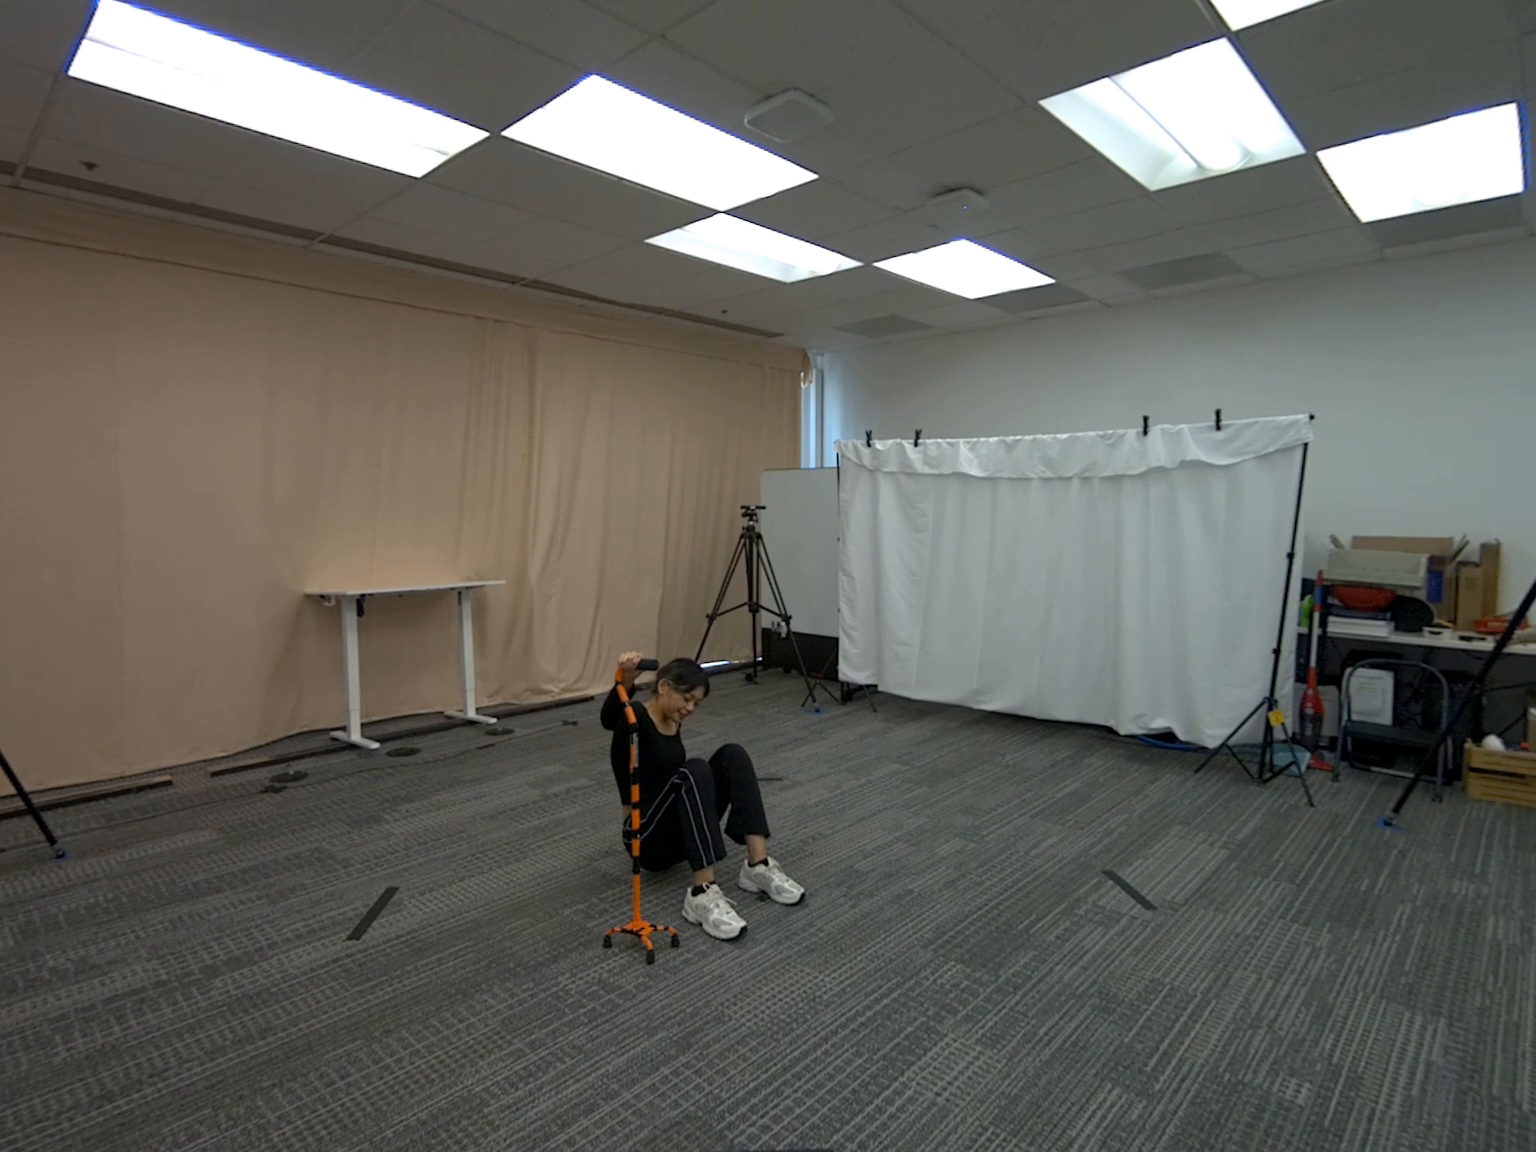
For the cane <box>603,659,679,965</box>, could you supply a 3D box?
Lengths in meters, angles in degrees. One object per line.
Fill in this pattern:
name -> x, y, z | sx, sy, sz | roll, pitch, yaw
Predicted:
cane -> -0.411, 0.710, 2.664 | 0.213, 0.907, 0.147 | 0, 1, 35
